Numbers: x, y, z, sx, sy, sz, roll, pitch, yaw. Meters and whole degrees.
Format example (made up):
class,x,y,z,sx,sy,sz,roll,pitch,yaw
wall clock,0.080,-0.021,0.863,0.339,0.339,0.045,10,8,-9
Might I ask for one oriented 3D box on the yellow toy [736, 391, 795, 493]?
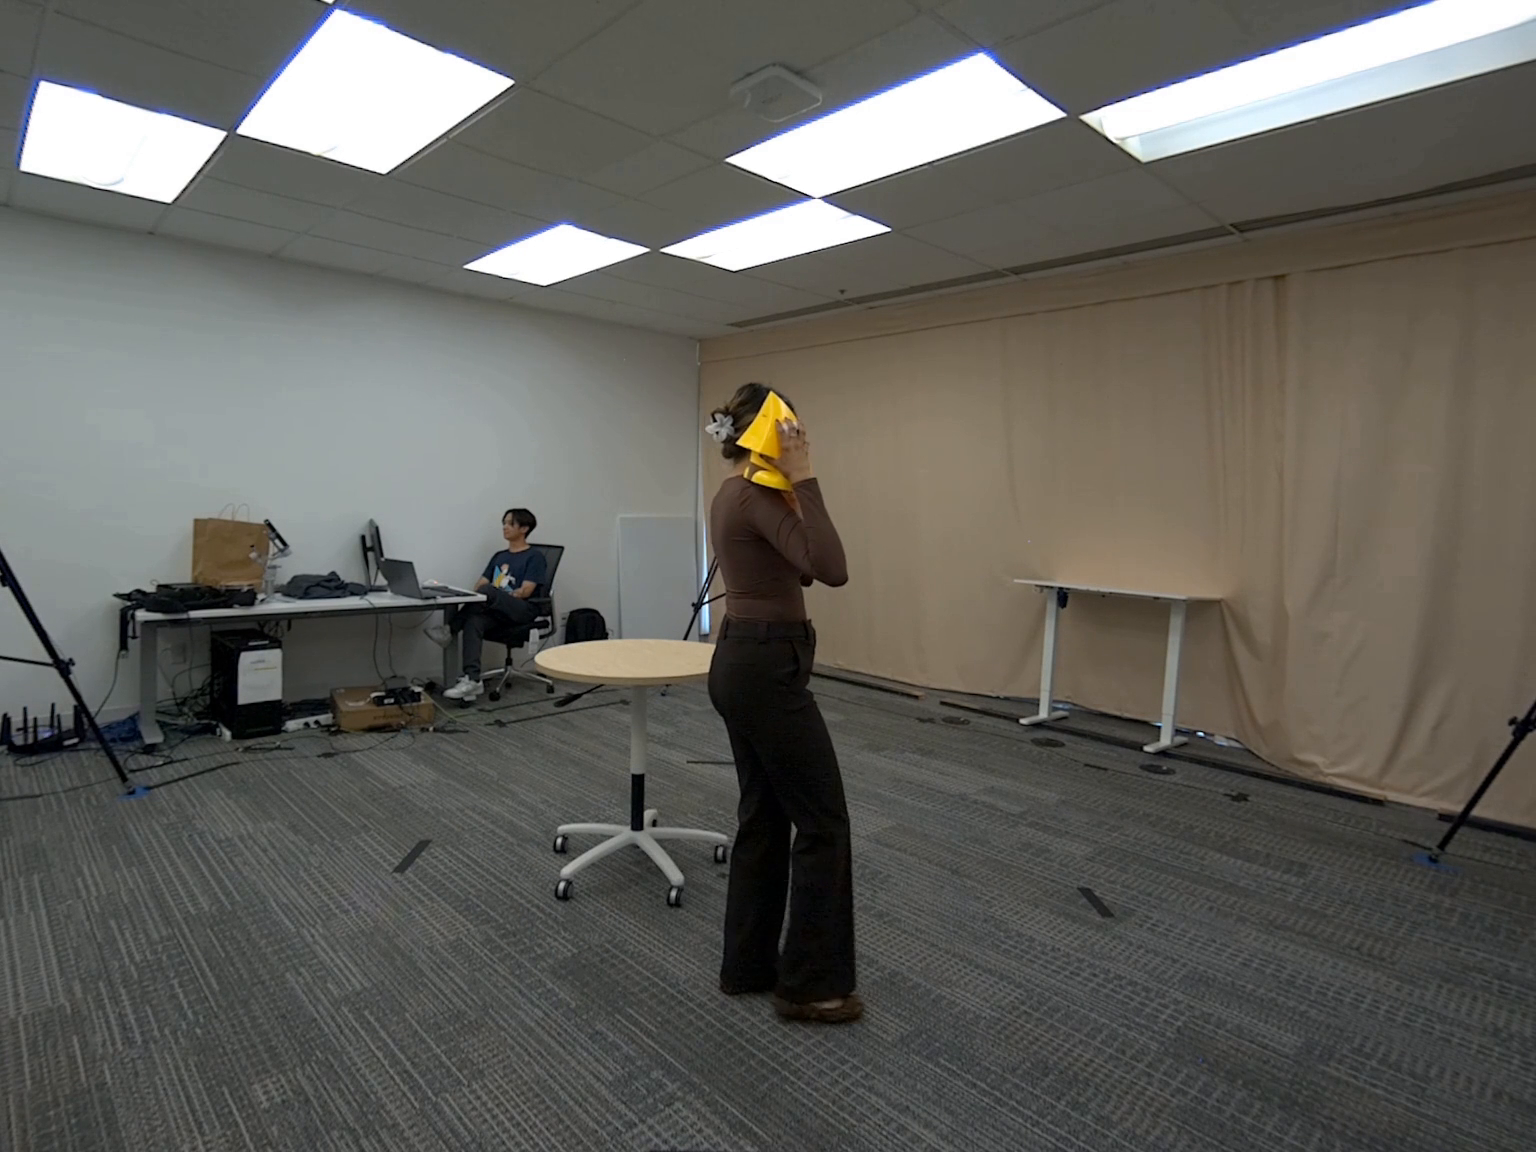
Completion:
class,x,y,z,sx,sy,sz,roll,pitch,yaw
yellow toy,0.032,-0.346,2.161,0.190,0.229,0.209,10,10,-20
